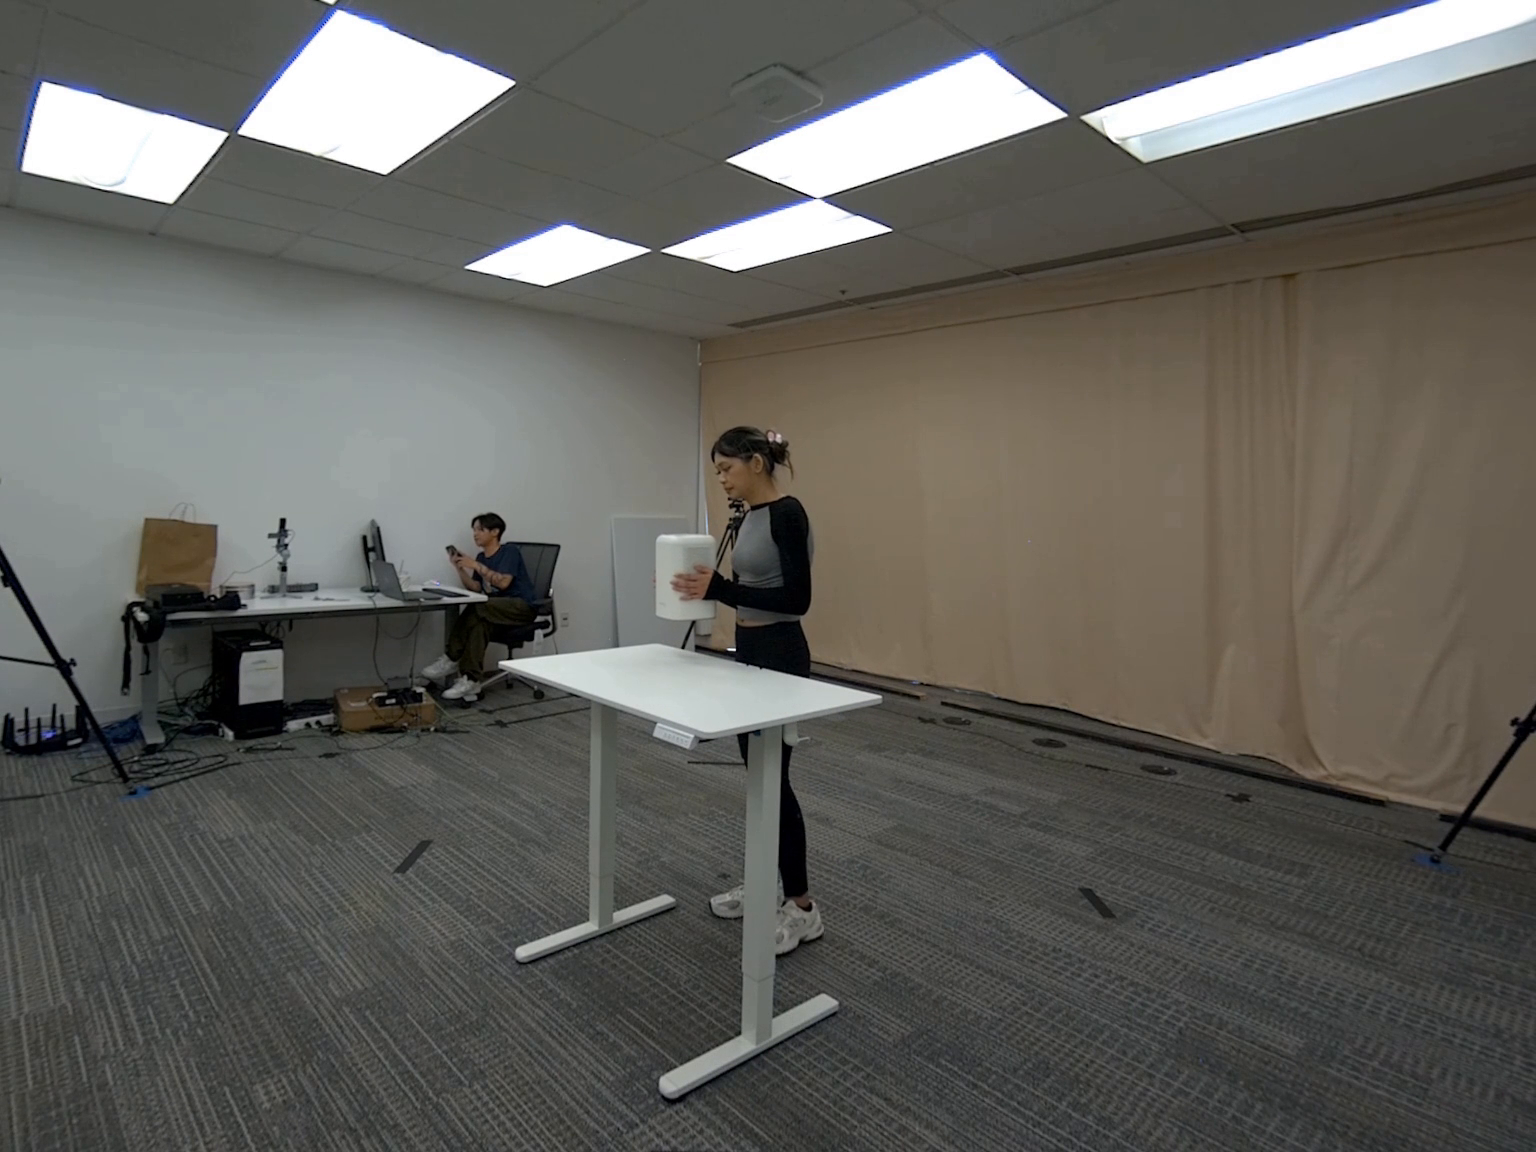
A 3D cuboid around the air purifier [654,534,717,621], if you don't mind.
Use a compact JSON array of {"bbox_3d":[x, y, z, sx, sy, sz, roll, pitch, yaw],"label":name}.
[{"bbox_3d":[-0.262,0.000,2.695,0.168,0.265,0.175,-2,4,-33],"label":"air purifier"}]
